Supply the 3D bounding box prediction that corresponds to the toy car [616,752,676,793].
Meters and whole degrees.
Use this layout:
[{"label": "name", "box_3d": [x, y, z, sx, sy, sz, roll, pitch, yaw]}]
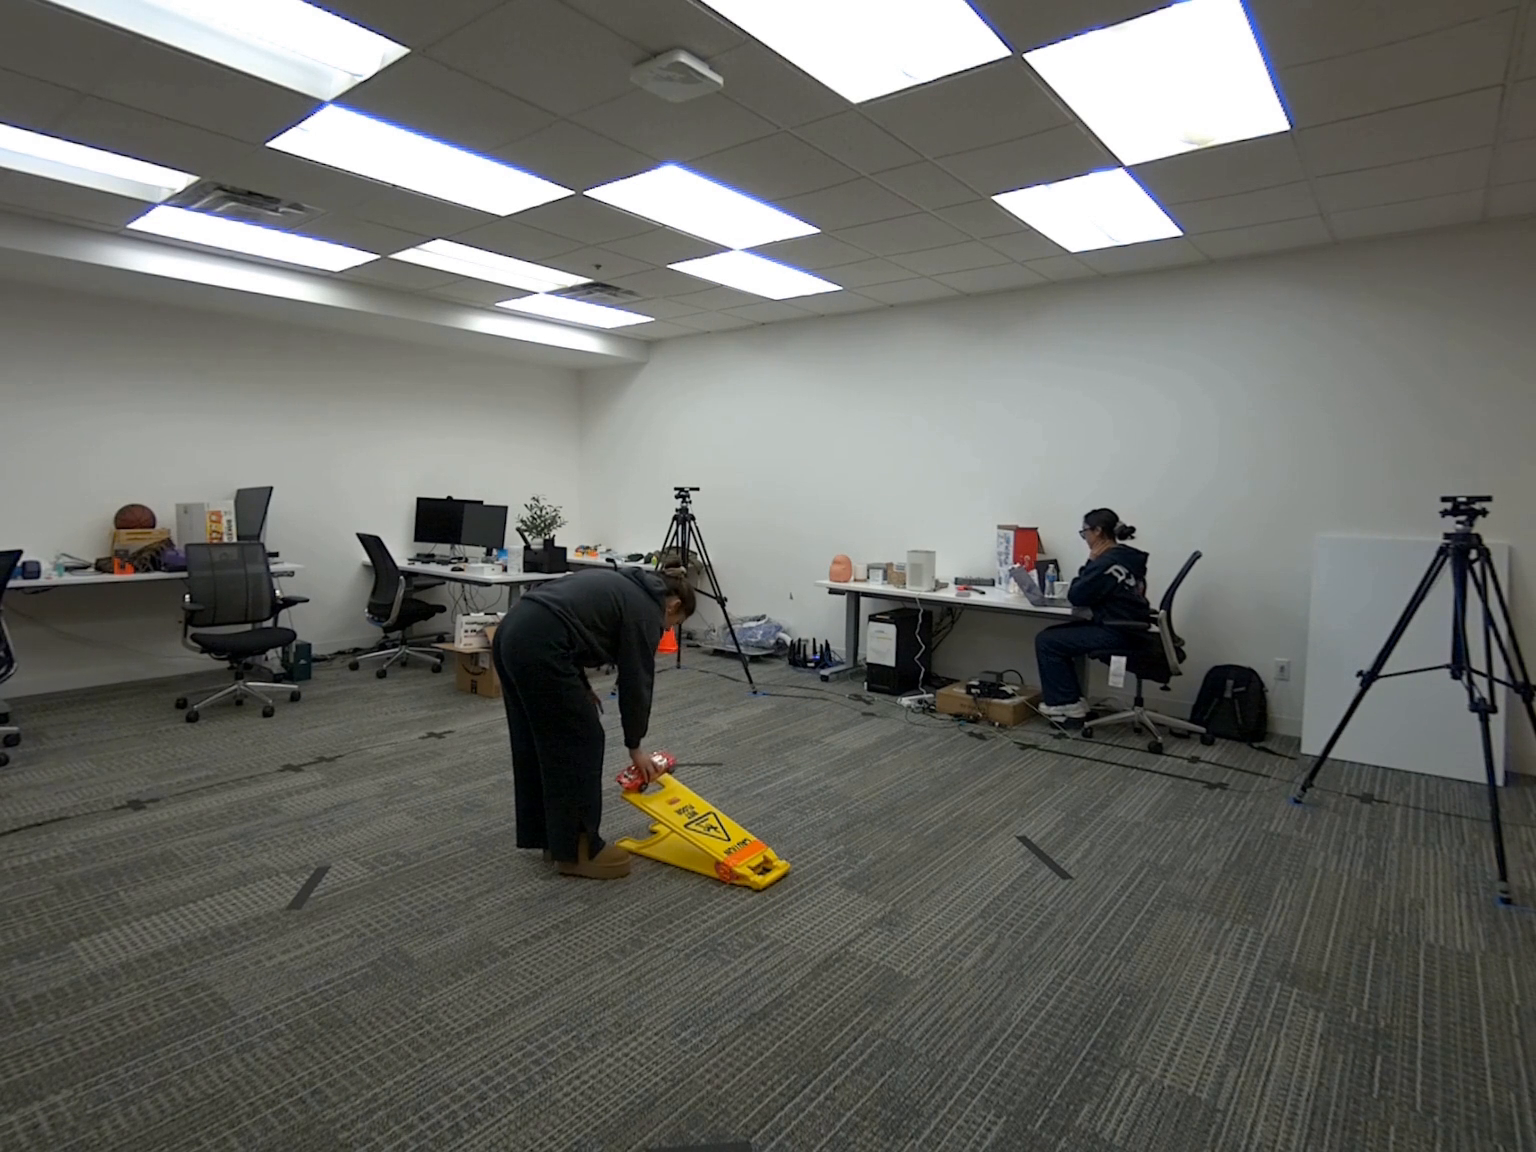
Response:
[{"label": "toy car", "box_3d": [-0.491, 0.777, 3.339, 0.135, 0.082, 0.249, 22, 27, 40]}]
